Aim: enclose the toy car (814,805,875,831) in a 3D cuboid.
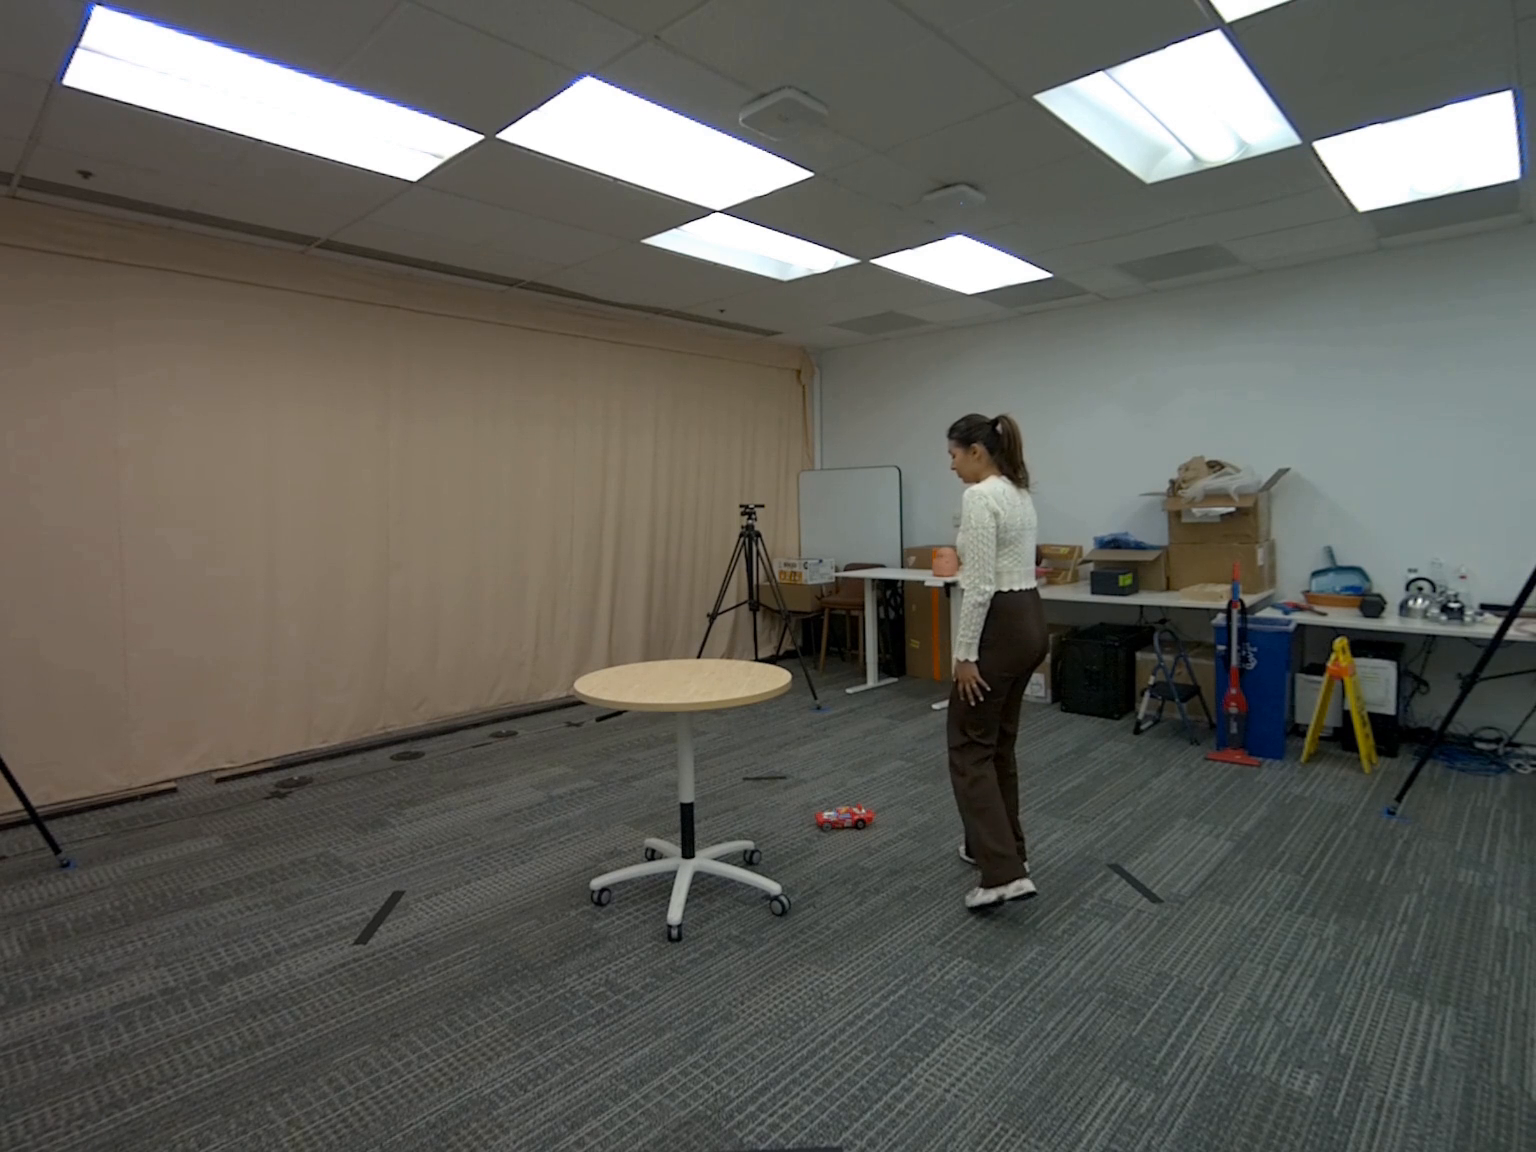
[{"bbox_3d":[0.339,1.046,3.638,0.253,0.083,0.131,-13,6,-5],"label":"toy car"}]
